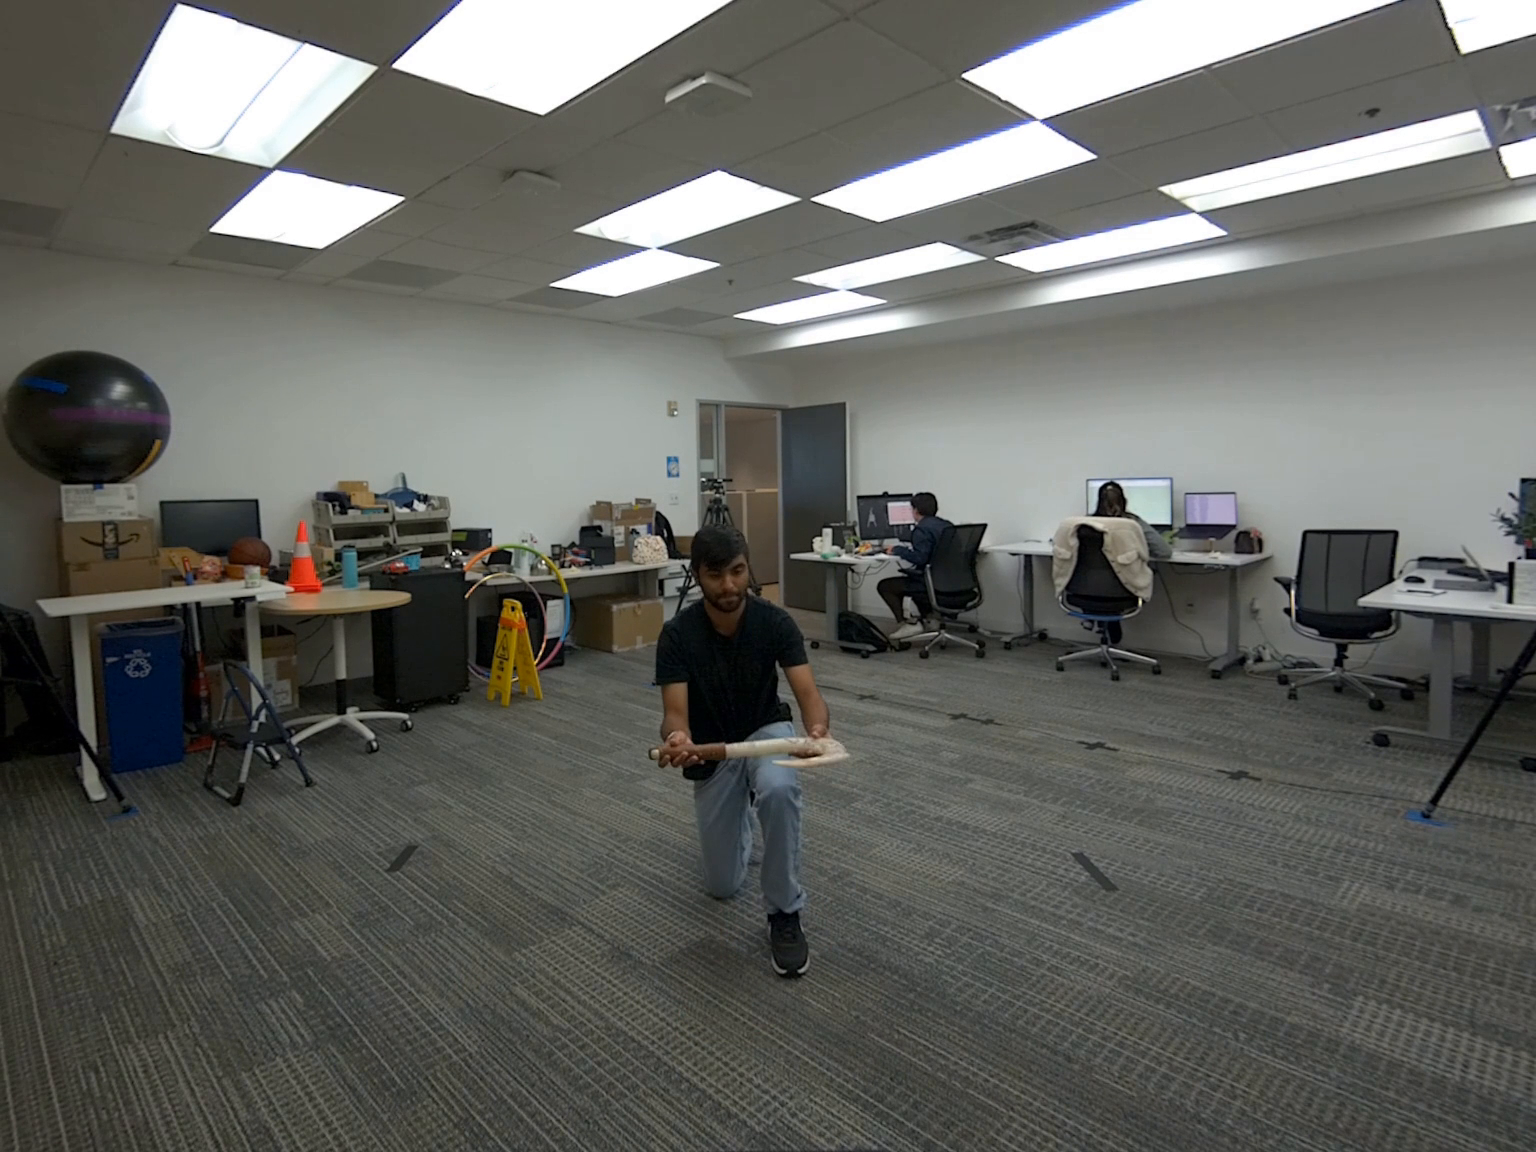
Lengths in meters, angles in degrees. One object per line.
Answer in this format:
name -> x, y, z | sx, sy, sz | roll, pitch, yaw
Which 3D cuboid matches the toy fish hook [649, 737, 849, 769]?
toy fish hook -> -0.057, 0.468, 2.163 | 0.505, 0.048, 0.225 | -3, 0, -3
